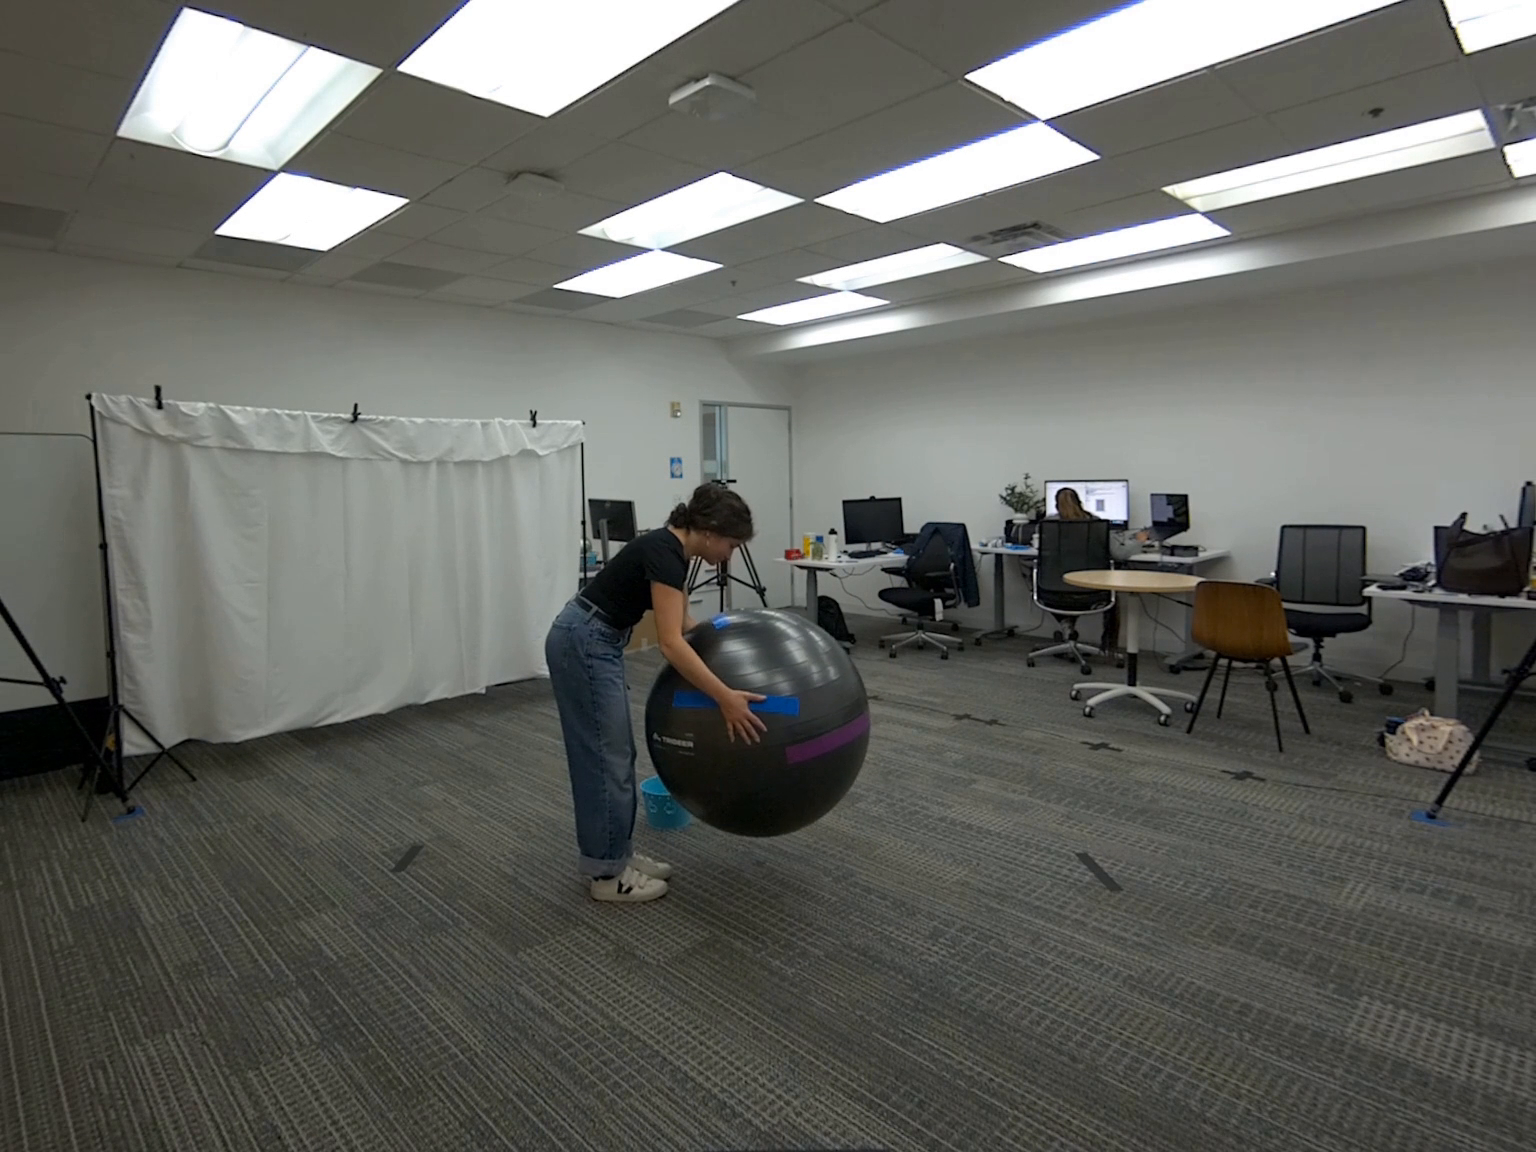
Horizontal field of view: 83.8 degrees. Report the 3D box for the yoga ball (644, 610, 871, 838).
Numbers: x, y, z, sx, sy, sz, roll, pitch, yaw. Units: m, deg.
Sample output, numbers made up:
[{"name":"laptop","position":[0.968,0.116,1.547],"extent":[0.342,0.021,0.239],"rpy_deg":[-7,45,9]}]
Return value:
[{"name":"yoga ball","position":[-0.026,0.508,2.901],"extent":[0.757,0.755,0.762],"rpy_deg":[-1,5,-2]}]
